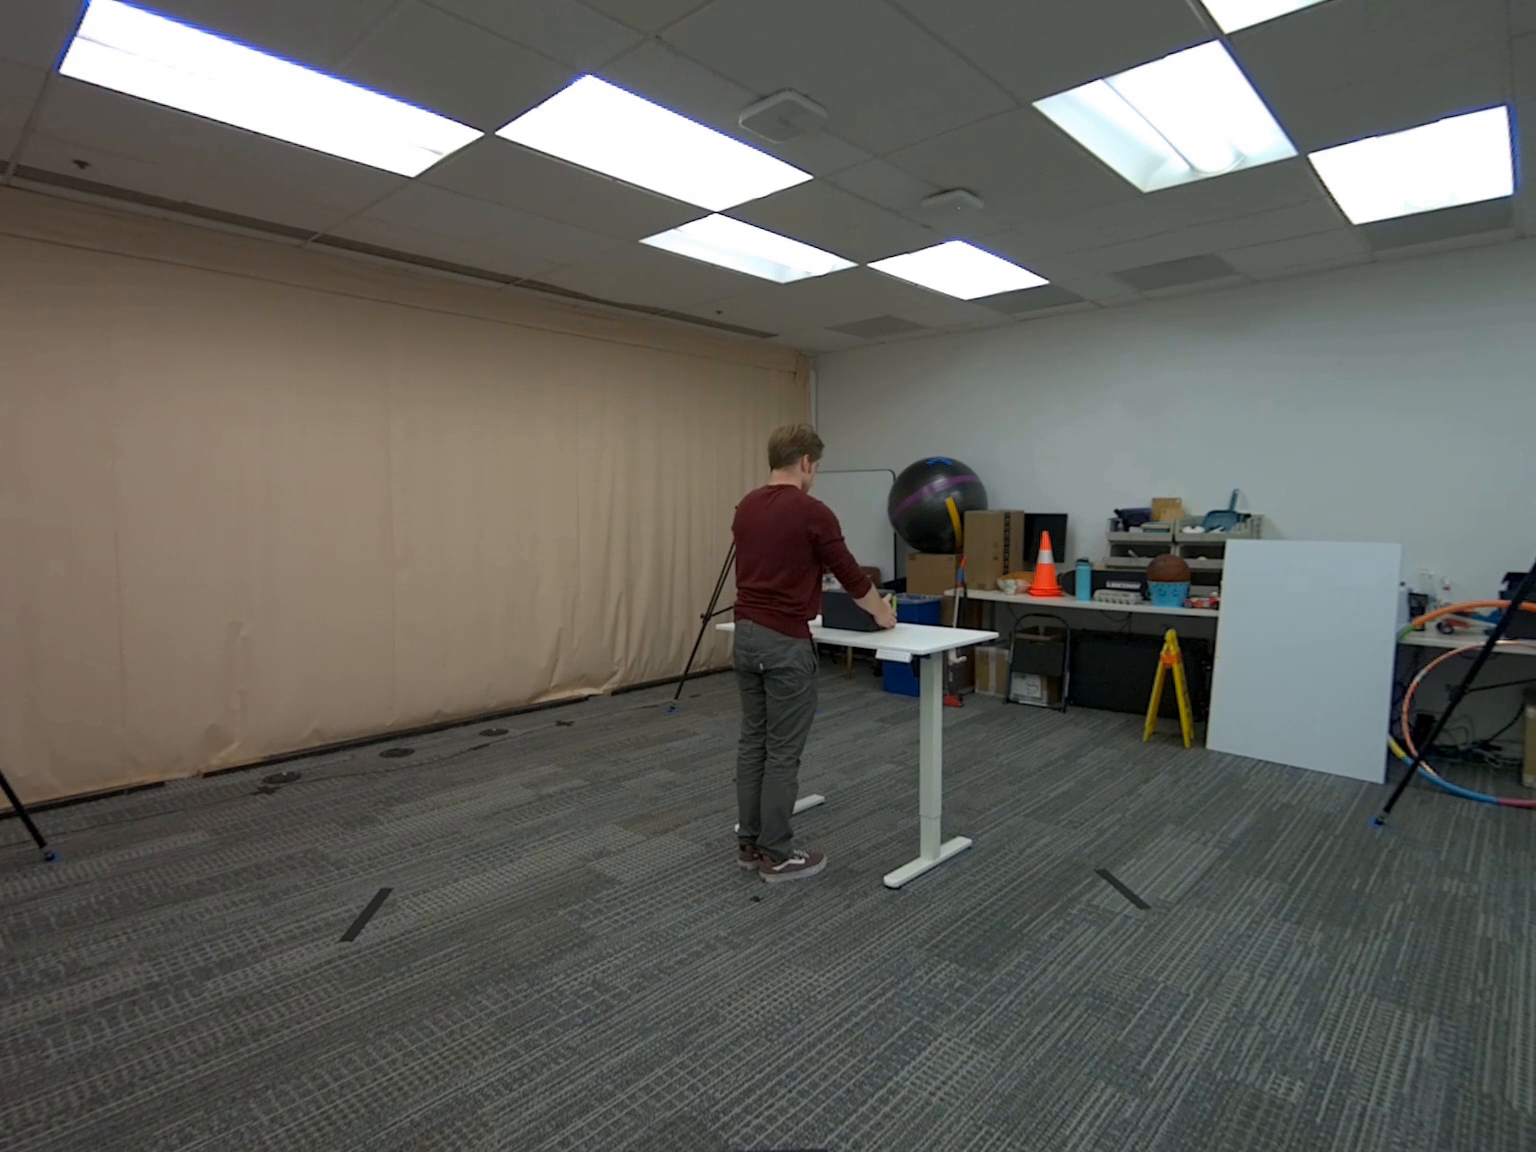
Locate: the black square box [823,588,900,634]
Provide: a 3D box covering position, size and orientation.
[{"bbox_3d":[0.386,0.137,3.517,0.235,0.155,0.210,3,4,42],"label":"black square box"}]
